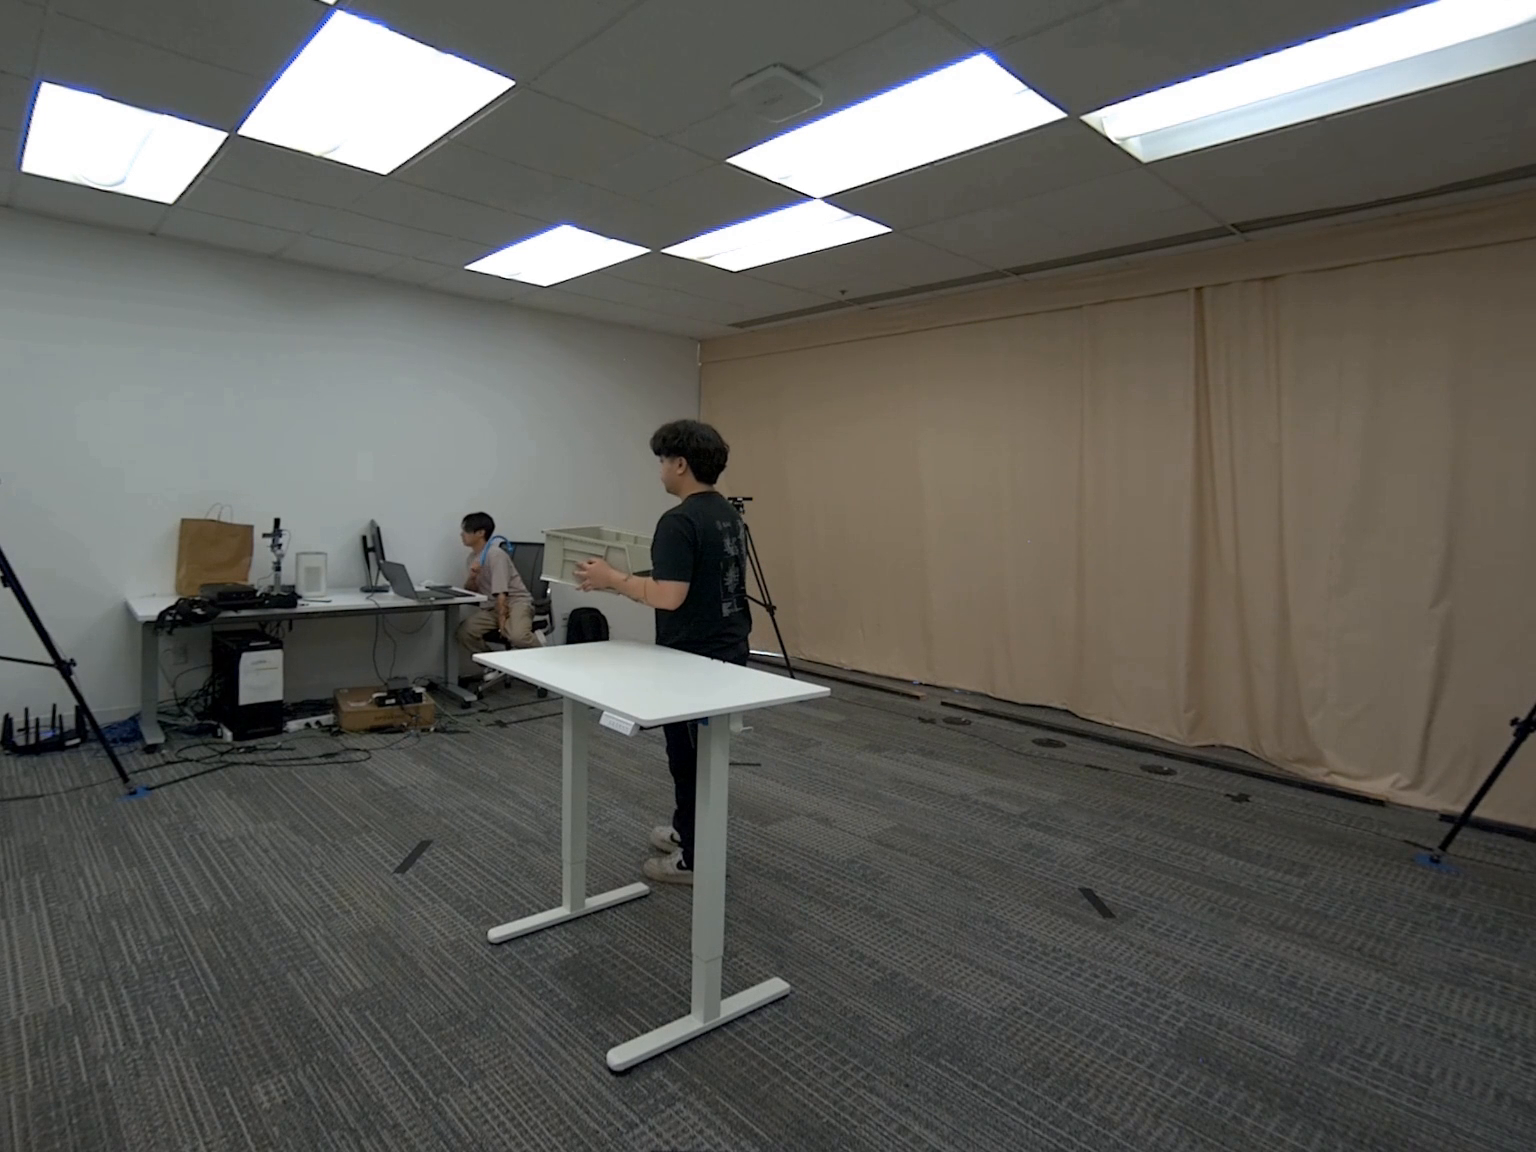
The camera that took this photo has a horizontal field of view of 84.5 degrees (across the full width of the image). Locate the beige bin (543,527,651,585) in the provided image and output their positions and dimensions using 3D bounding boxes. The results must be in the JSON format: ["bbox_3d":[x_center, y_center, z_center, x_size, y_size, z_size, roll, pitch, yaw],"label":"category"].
[{"bbox_3d":[-0.570,-0.057,3.145,0.383,0.188,0.418,9,8,16],"label":"beige bin"}]
